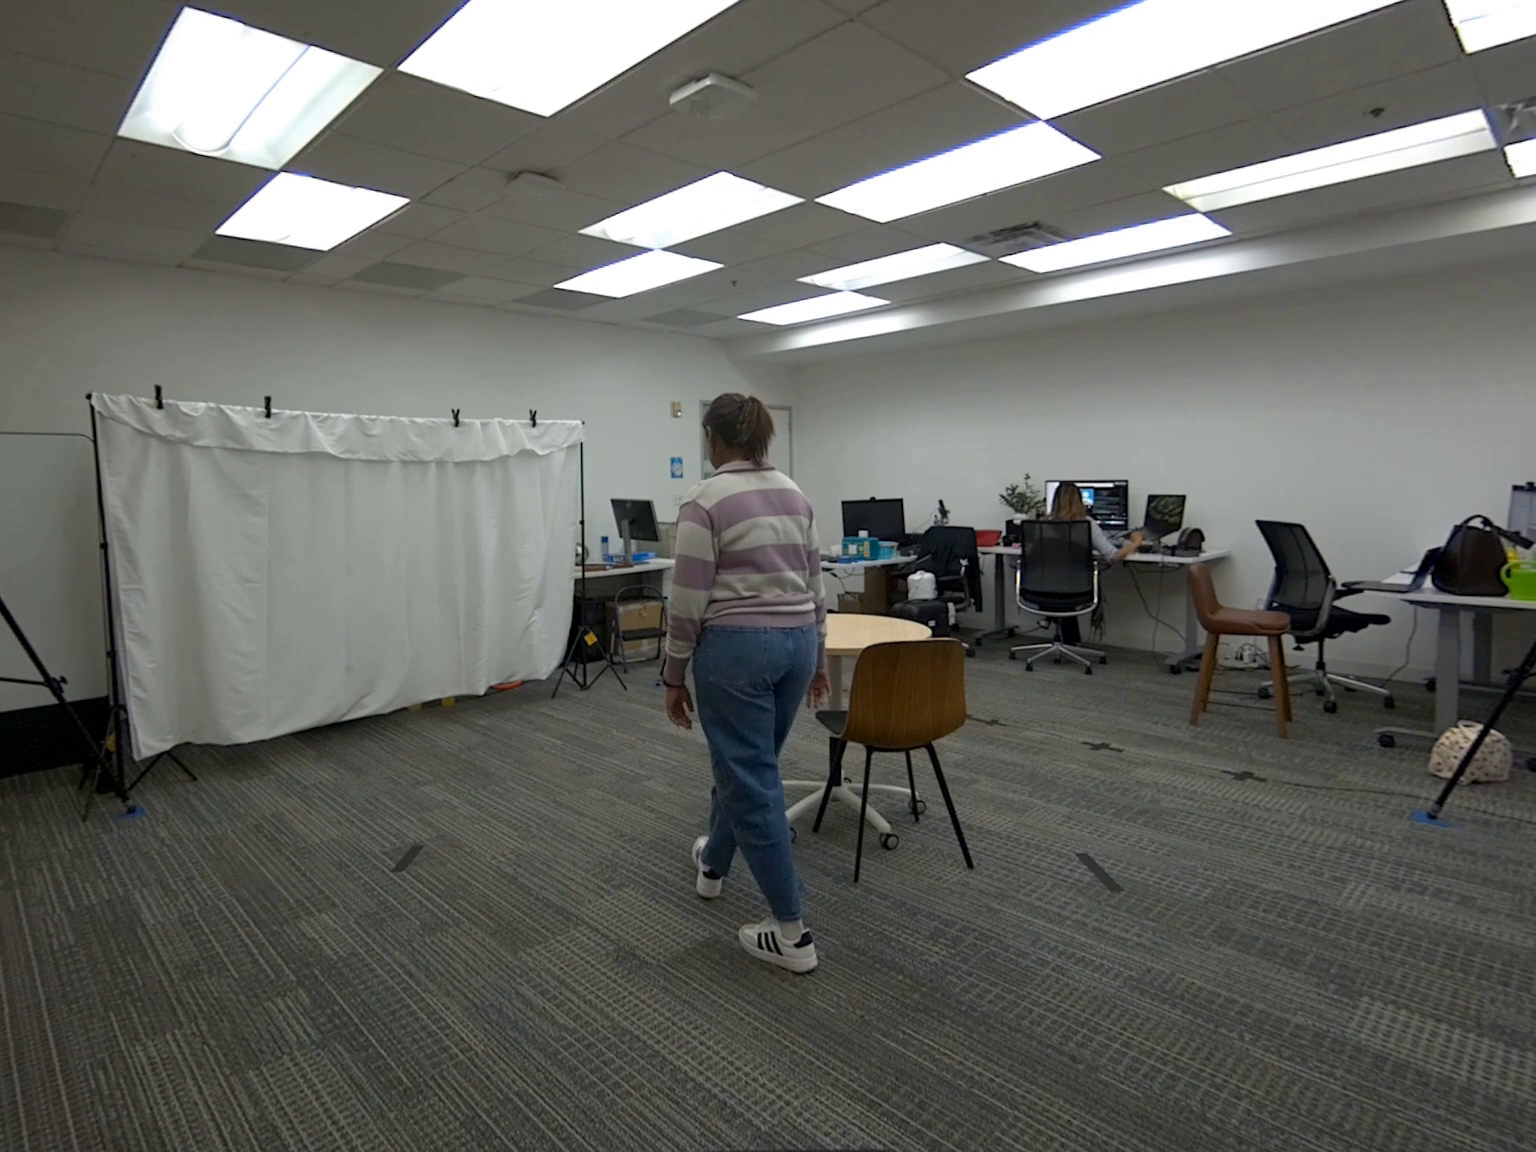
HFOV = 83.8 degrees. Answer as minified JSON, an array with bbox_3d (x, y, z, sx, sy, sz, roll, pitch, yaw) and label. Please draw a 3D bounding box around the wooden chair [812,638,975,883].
[{"bbox_3d":[0.446,0.602,3.189,0.472,0.871,0.534,-3,8,-15],"label":"wooden chair"}]
